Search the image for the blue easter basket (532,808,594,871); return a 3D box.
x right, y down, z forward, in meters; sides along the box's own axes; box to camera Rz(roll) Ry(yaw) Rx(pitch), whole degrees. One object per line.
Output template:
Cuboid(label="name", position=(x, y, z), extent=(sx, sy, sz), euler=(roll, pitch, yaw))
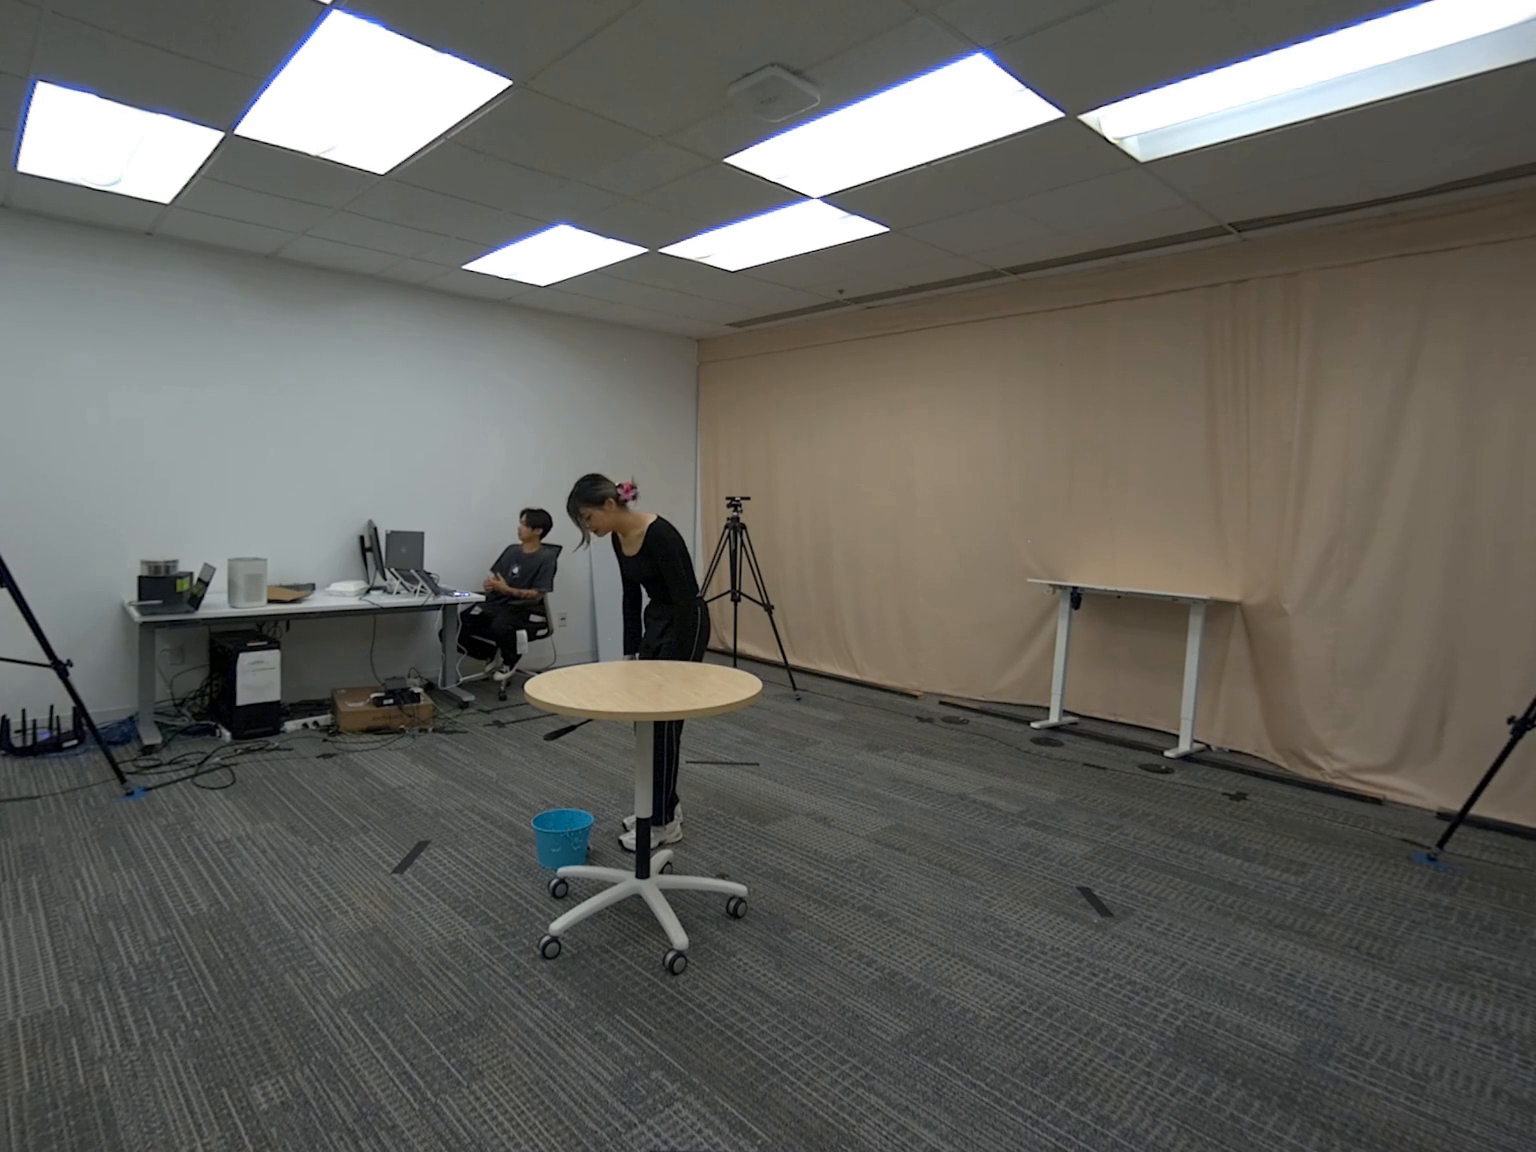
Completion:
Cuboid(label="blue easter basket", position=(-0.787, 1.007, 3.208), extent=(0.243, 0.155, 0.244), euler=(1, 5, -1))
